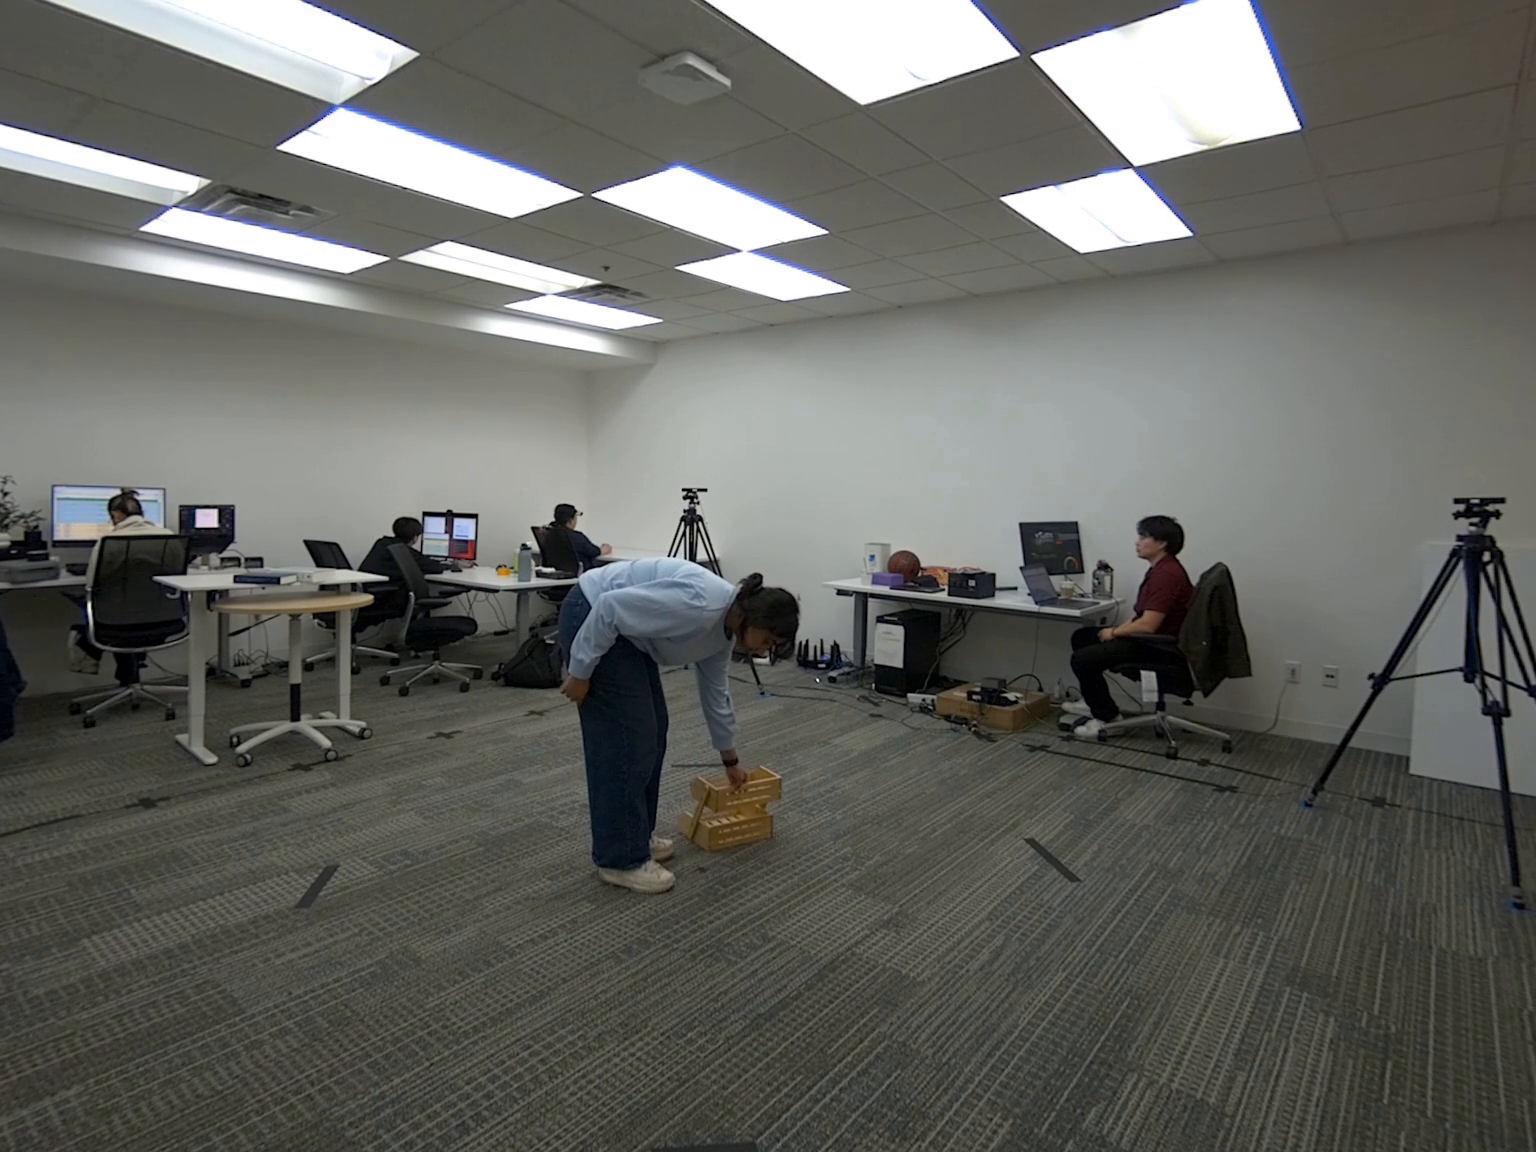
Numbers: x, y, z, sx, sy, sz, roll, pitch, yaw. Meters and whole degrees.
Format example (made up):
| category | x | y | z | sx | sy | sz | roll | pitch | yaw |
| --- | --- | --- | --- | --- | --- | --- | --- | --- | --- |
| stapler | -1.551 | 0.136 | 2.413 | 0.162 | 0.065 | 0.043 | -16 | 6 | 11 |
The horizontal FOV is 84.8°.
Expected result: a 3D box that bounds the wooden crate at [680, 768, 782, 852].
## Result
| category | x | y | z | sx | sy | sz | roll | pitch | yaw |
| --- | --- | --- | --- | --- | --- | --- | --- | --- | --- |
| wooden crate | -0.168 | 0.905 | 3.415 | 0.315 | 0.272 | 0.312 | -2 | 6 | -33 |
